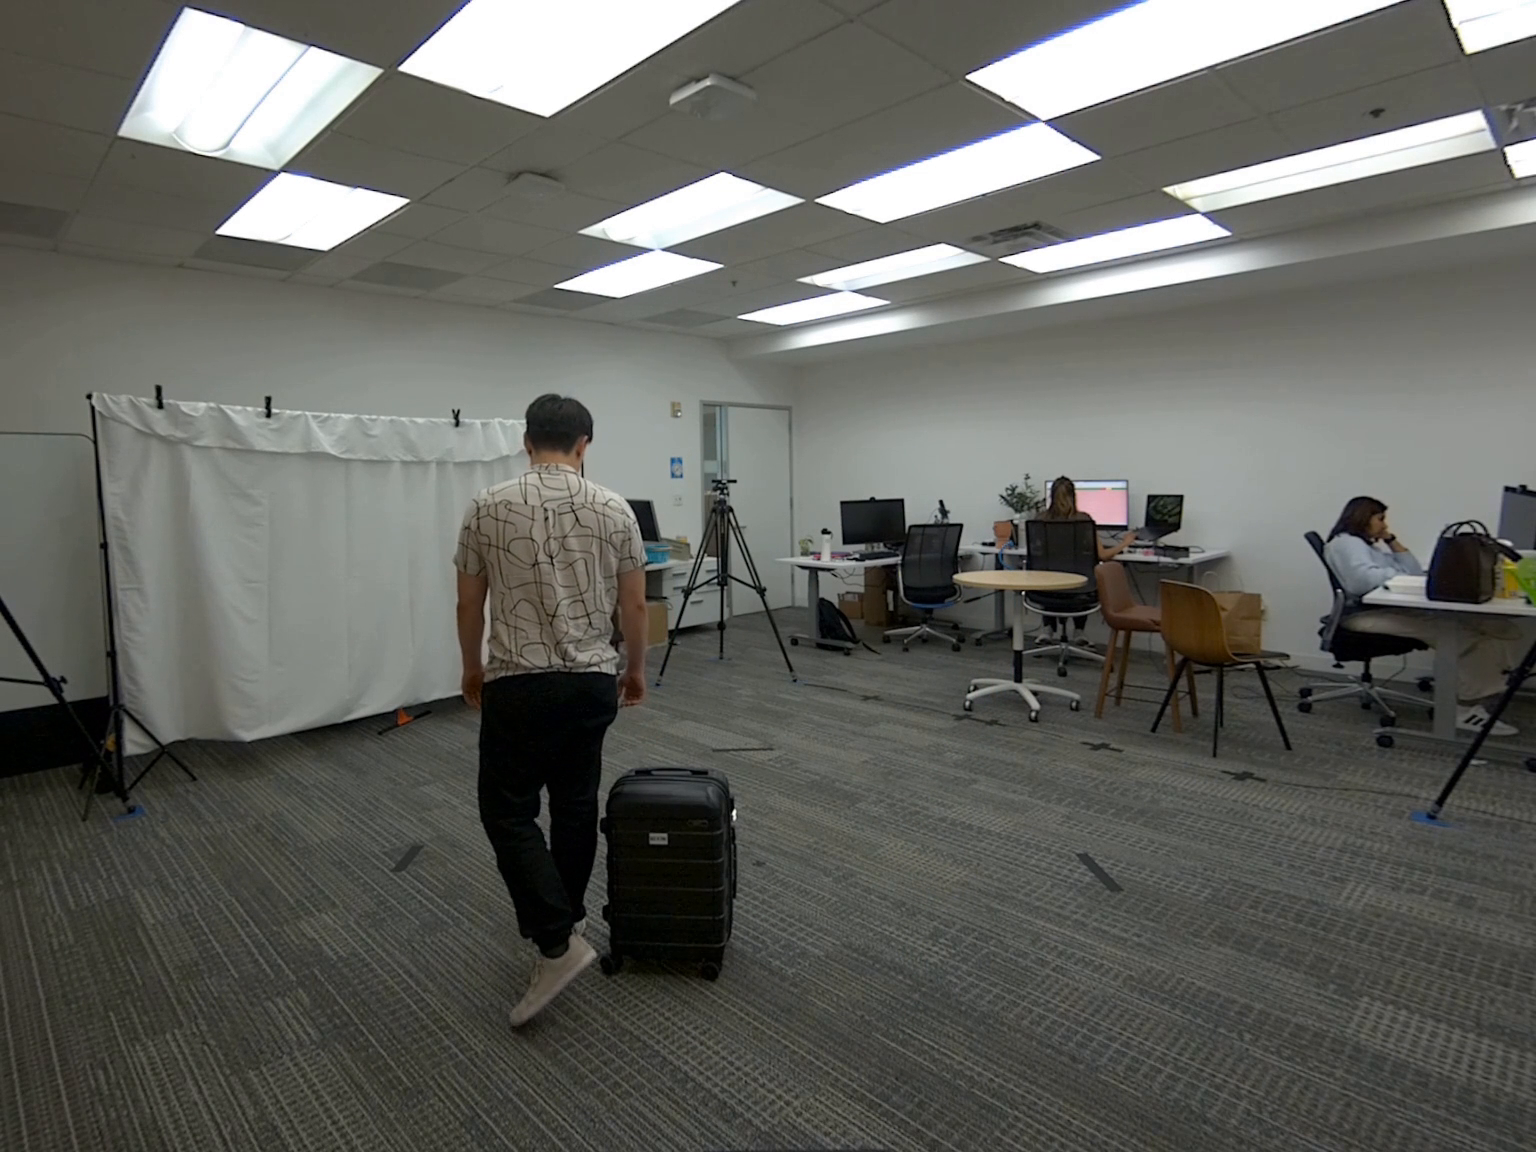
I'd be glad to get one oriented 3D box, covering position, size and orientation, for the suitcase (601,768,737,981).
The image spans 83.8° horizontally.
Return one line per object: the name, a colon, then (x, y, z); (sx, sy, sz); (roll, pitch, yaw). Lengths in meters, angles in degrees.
suitcase: (-0.278, 0.850, 2.501); (0.378, 0.547, 0.248); (1, 5, 6)
